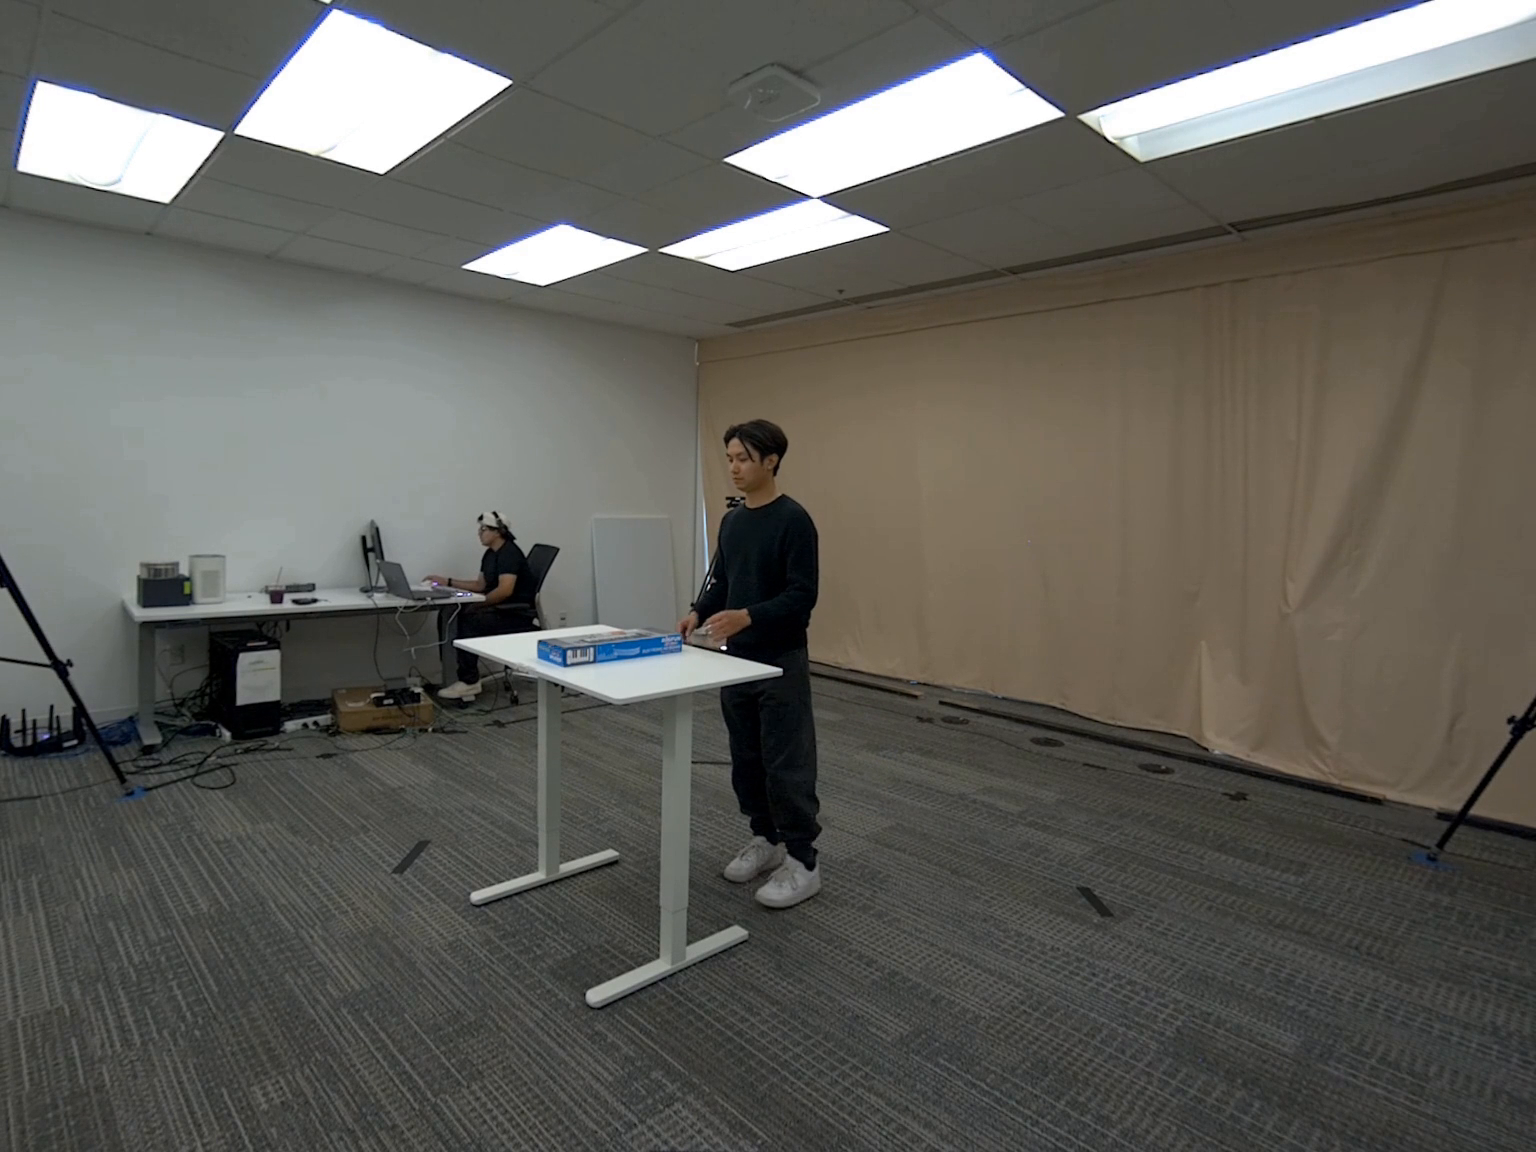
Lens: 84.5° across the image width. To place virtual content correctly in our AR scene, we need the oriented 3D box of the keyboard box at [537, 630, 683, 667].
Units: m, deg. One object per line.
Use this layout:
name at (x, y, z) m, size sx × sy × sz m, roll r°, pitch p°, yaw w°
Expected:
keyboard box at (-0.508, 0.225, 2.688) m, size 0.427 × 0.059 × 0.180 m, roll -3°, pitch 7°, yaw -41°
